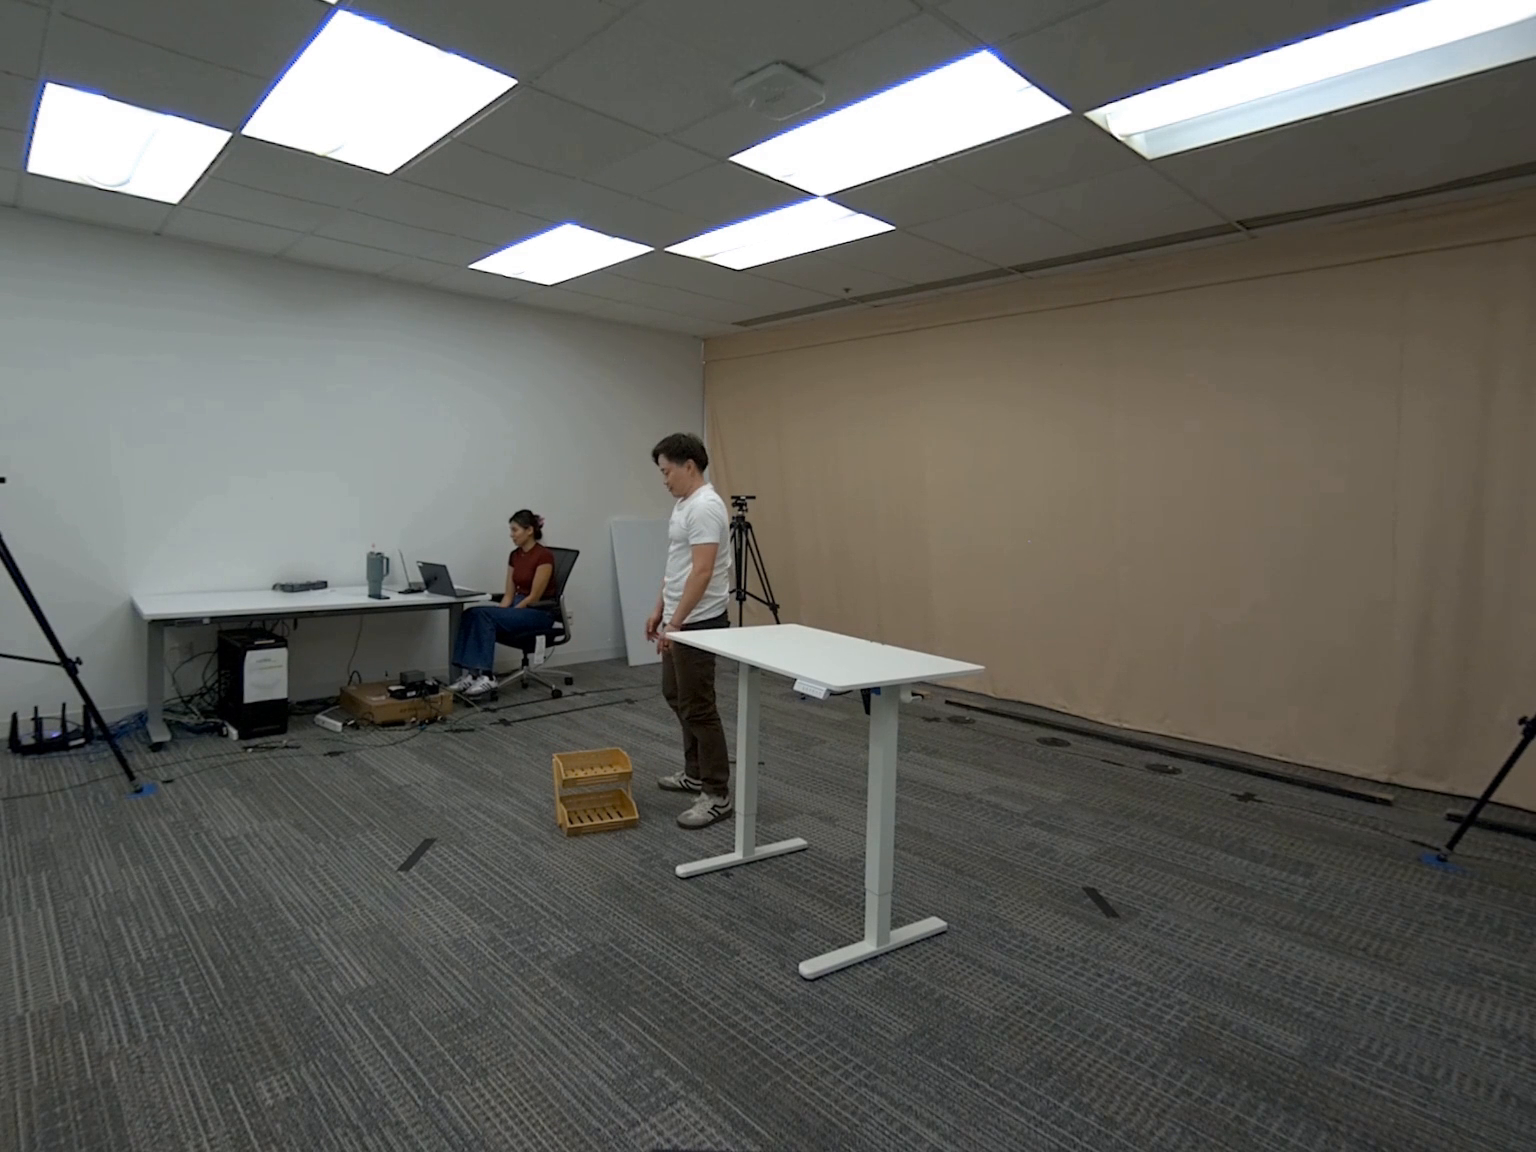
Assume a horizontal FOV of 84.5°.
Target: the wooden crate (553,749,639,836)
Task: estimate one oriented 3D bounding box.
[{"bbox_3d":[-0.750,0.911,3.588,0.318,0.273,0.308,0,4,-26],"label":"wooden crate"}]
